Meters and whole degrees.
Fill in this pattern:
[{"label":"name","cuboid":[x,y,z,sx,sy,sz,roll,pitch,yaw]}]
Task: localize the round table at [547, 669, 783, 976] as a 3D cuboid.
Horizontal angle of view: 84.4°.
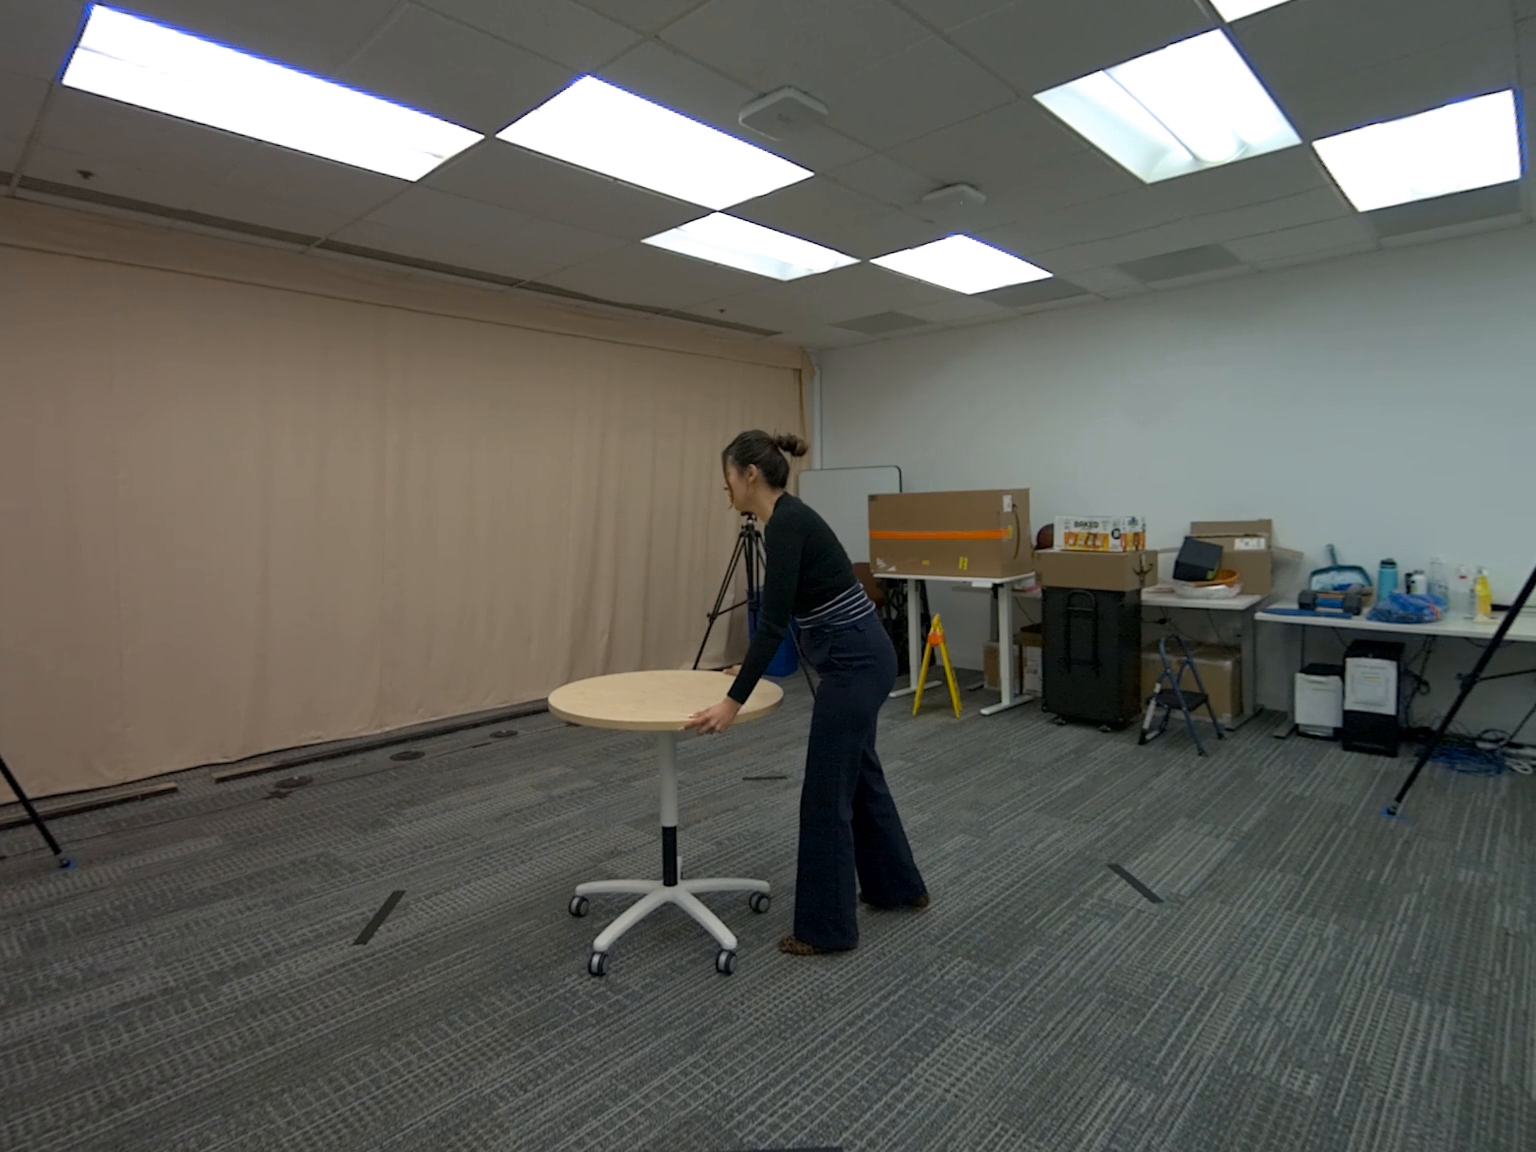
[{"label":"round table","cuboid":[-0.324,0.776,2.779,0.763,0.792,0.766,-1,3,-2]}]
